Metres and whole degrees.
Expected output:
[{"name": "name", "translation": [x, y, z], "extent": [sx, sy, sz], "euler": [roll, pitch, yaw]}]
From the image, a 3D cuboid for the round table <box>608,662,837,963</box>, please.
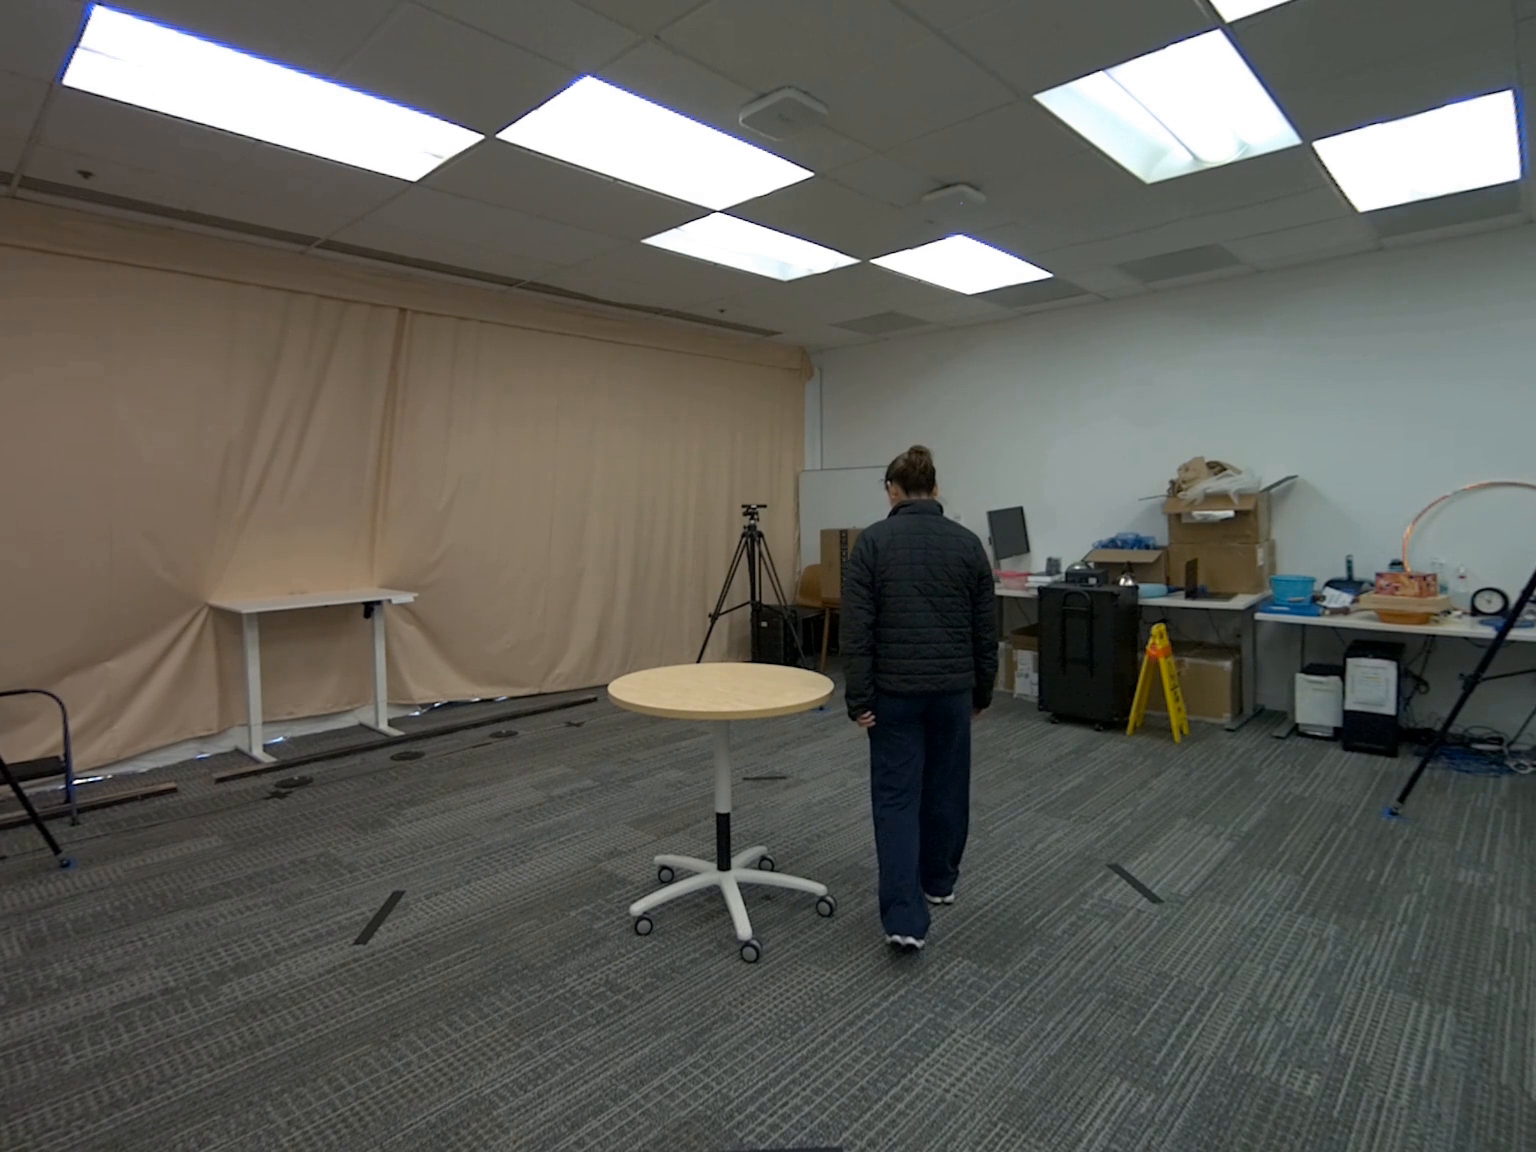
[{"name": "round table", "translation": [-0.146, 0.758, 2.905], "extent": [0.784, 0.785, 0.788], "euler": [-1, 4, -2]}]
